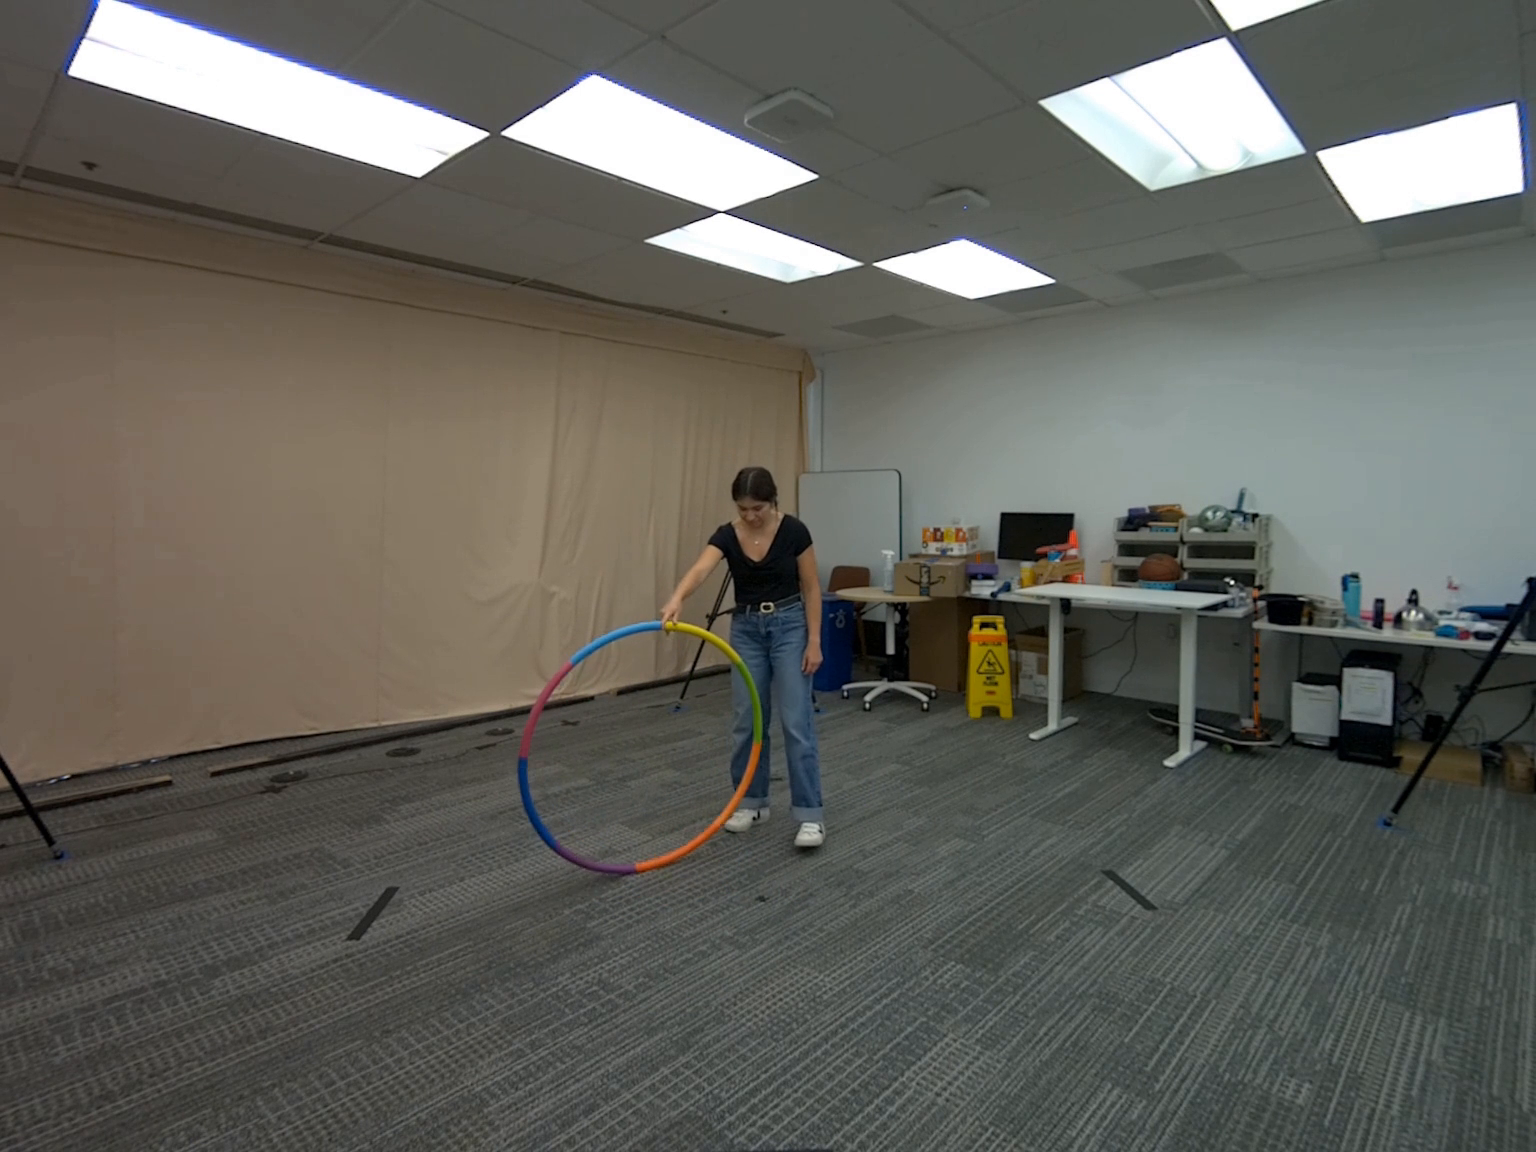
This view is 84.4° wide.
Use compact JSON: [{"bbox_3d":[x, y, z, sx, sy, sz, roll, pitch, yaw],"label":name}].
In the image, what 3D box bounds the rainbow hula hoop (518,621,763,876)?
[{"bbox_3d":[-0.441,0.653,3.153,0.953,0.973,0.037,-2,10,-29],"label":"rainbow hula hoop"}]
